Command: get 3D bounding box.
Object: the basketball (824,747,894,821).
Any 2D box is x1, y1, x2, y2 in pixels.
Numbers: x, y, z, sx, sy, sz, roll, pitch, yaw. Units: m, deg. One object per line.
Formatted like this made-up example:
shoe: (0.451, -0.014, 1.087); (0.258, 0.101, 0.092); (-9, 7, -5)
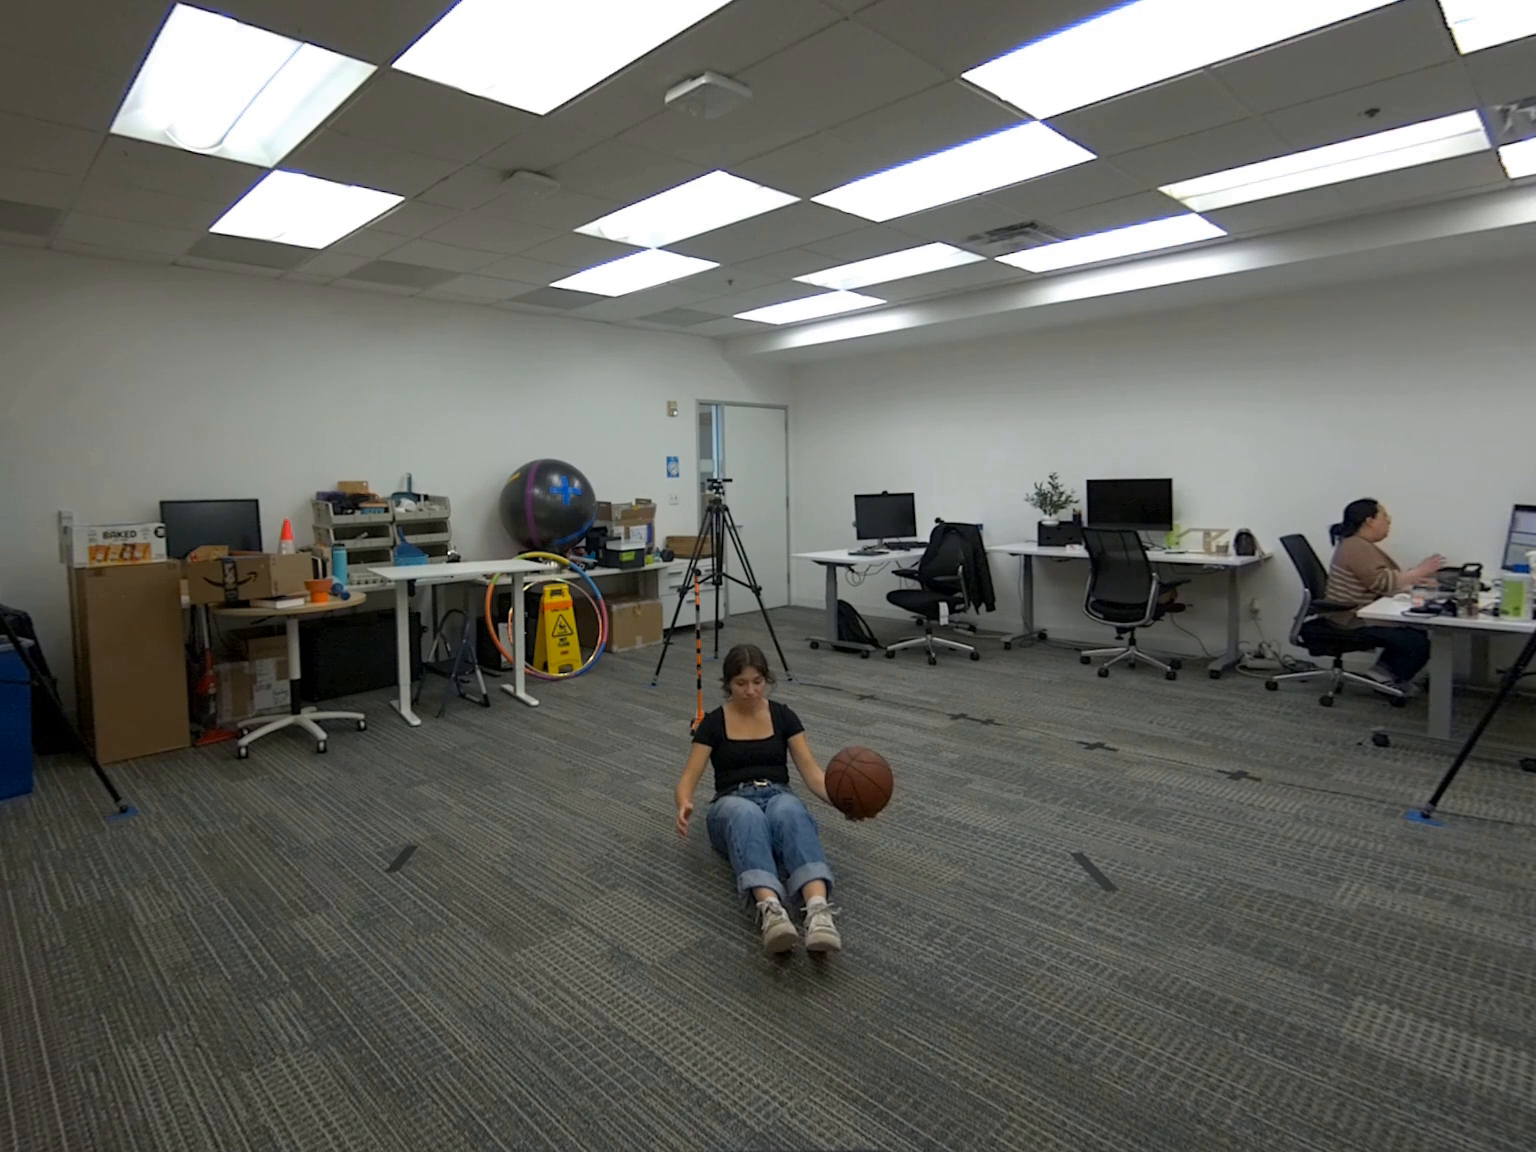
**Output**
basketball: (0.315, 0.712, 2.974); (0.236, 0.235, 0.237); (-1, 5, -2)
